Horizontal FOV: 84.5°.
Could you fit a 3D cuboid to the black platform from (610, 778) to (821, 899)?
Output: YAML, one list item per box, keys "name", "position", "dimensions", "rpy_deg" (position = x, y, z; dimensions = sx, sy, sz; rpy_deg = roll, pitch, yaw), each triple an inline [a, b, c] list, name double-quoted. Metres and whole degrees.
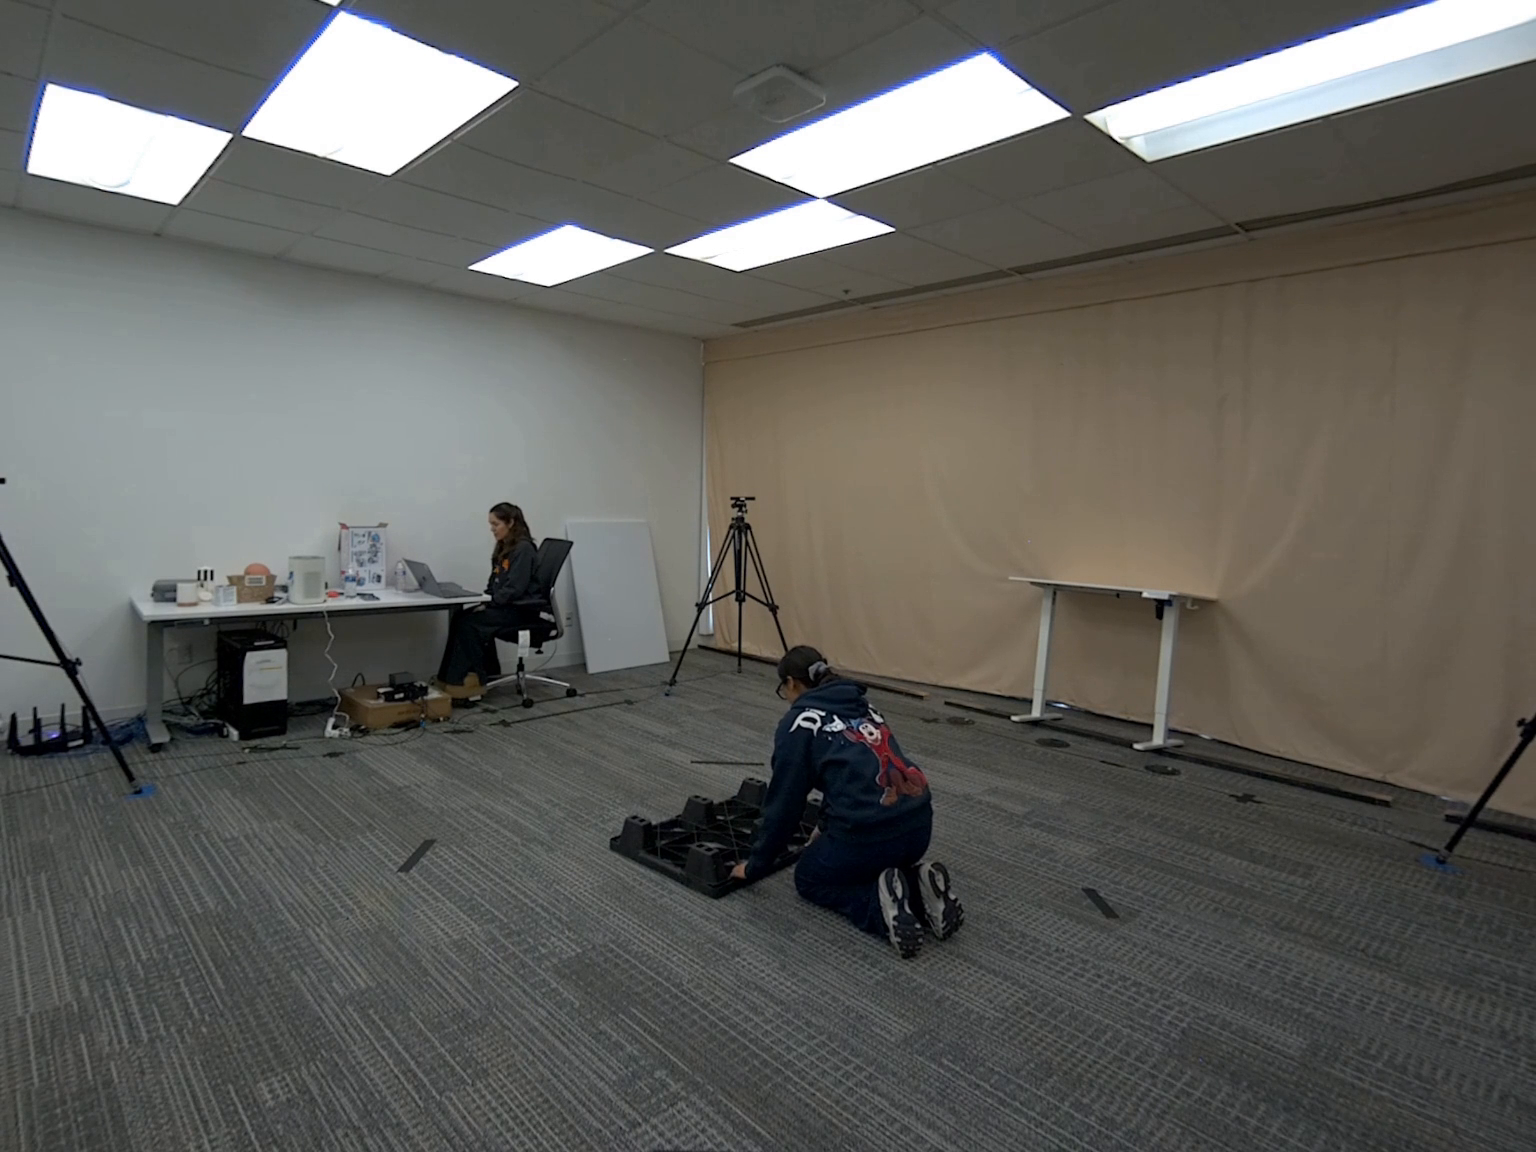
- name: "black platform"
  position: [-0.153, 1.014, 3.396]
  dimensions: [0.620, 0.143, 0.787]
  rpy_deg: [5, 6, 41]
